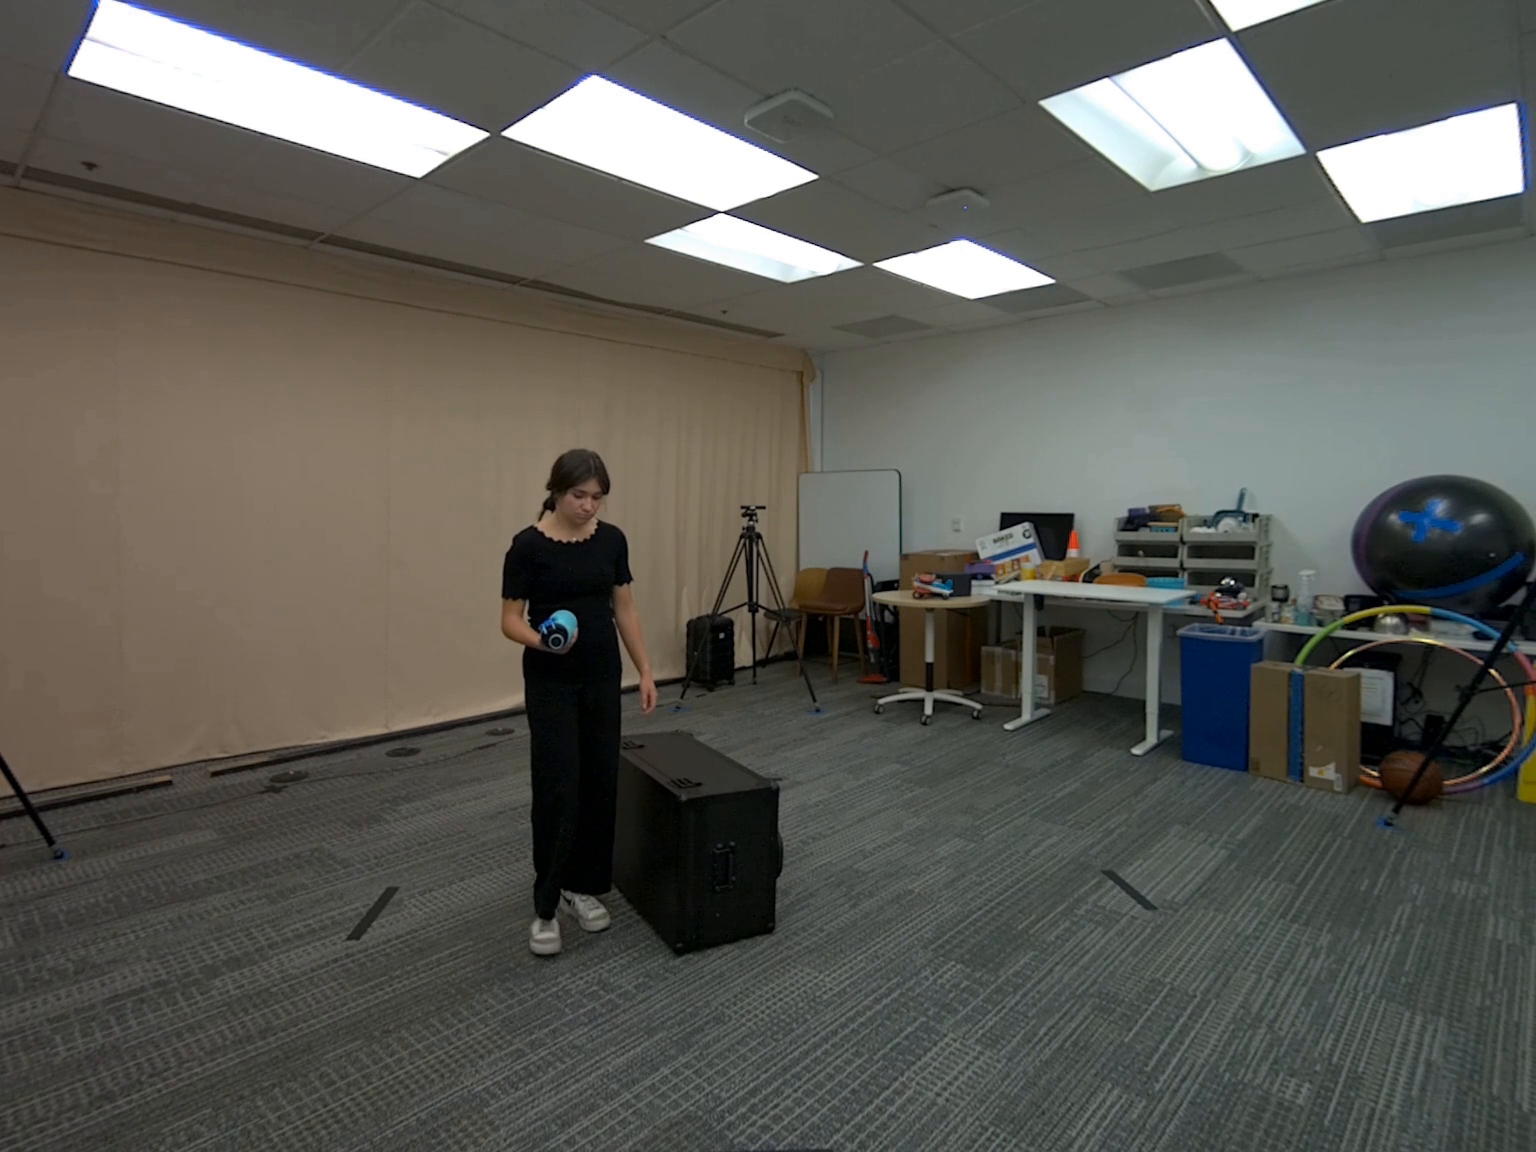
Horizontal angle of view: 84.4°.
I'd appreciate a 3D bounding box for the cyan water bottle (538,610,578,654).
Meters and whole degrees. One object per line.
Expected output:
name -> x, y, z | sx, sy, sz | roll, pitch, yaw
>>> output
cyan water bottle -> -0.632, 0.164, 2.524 | 0.091, 0.092, 0.286 | -1, 4, -9
